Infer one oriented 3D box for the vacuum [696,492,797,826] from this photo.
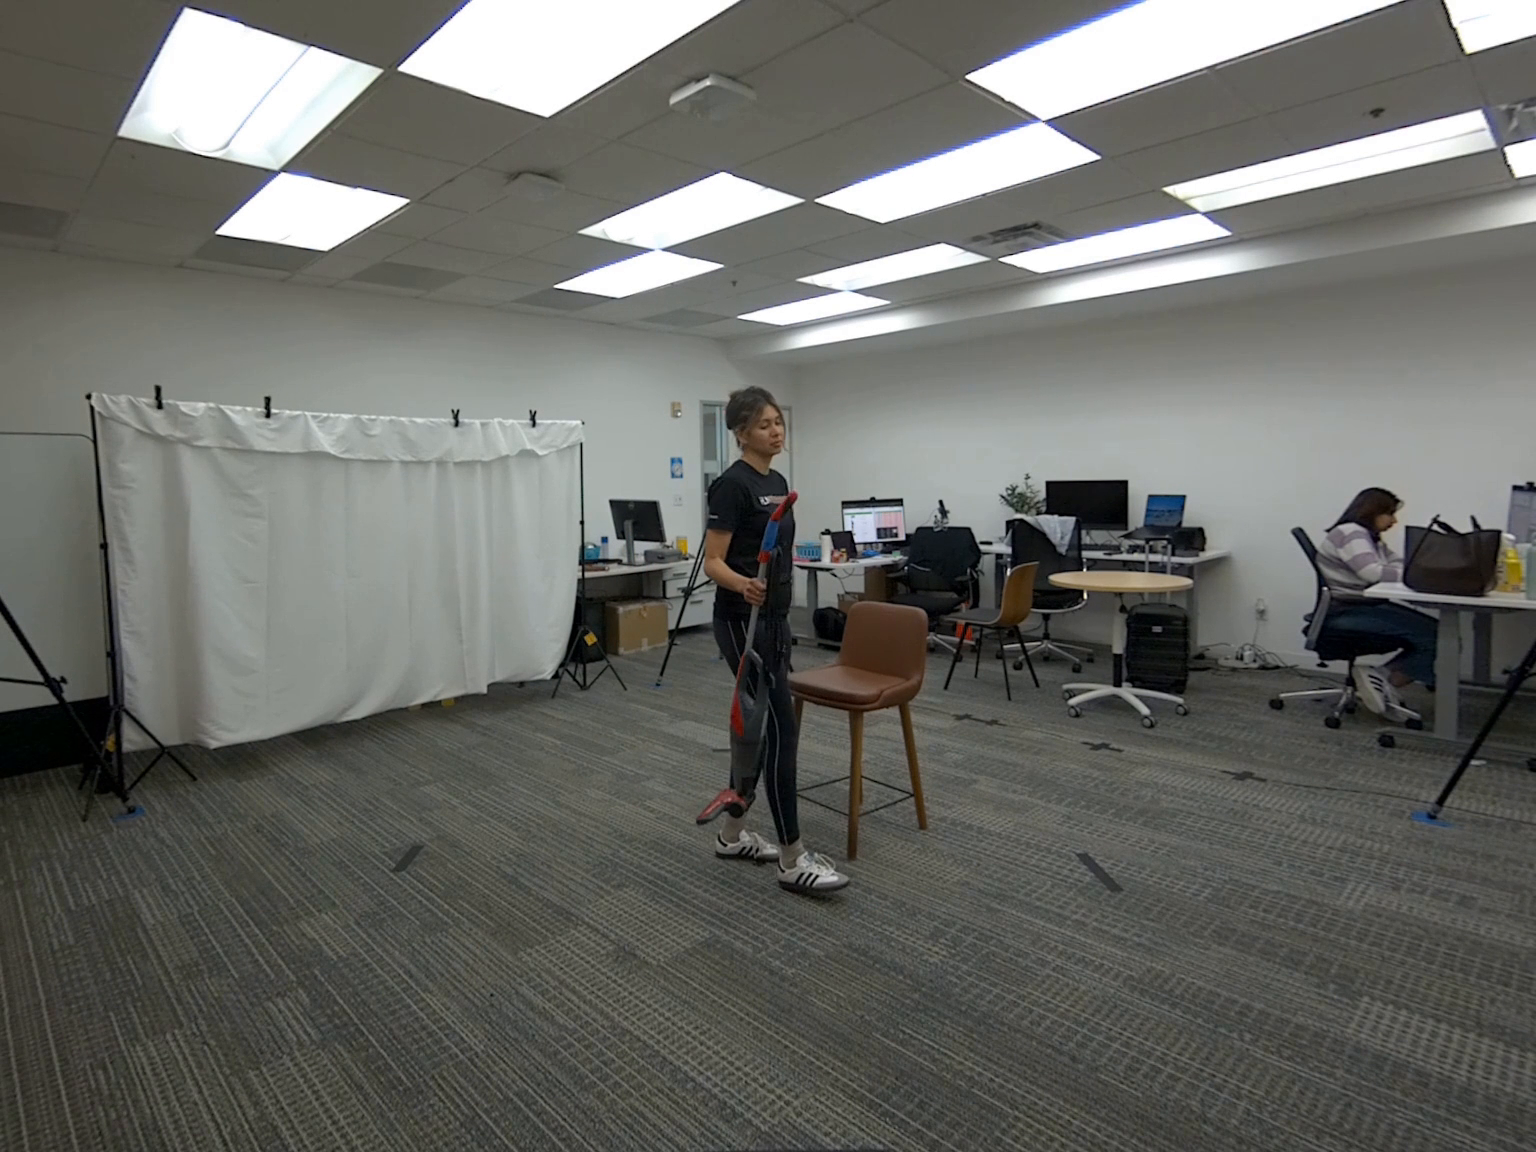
[{"bbox_3d":[-0.022,0.258,2.681,0.148,1.042,0.248,15,11,23],"label":"vacuum"}]
